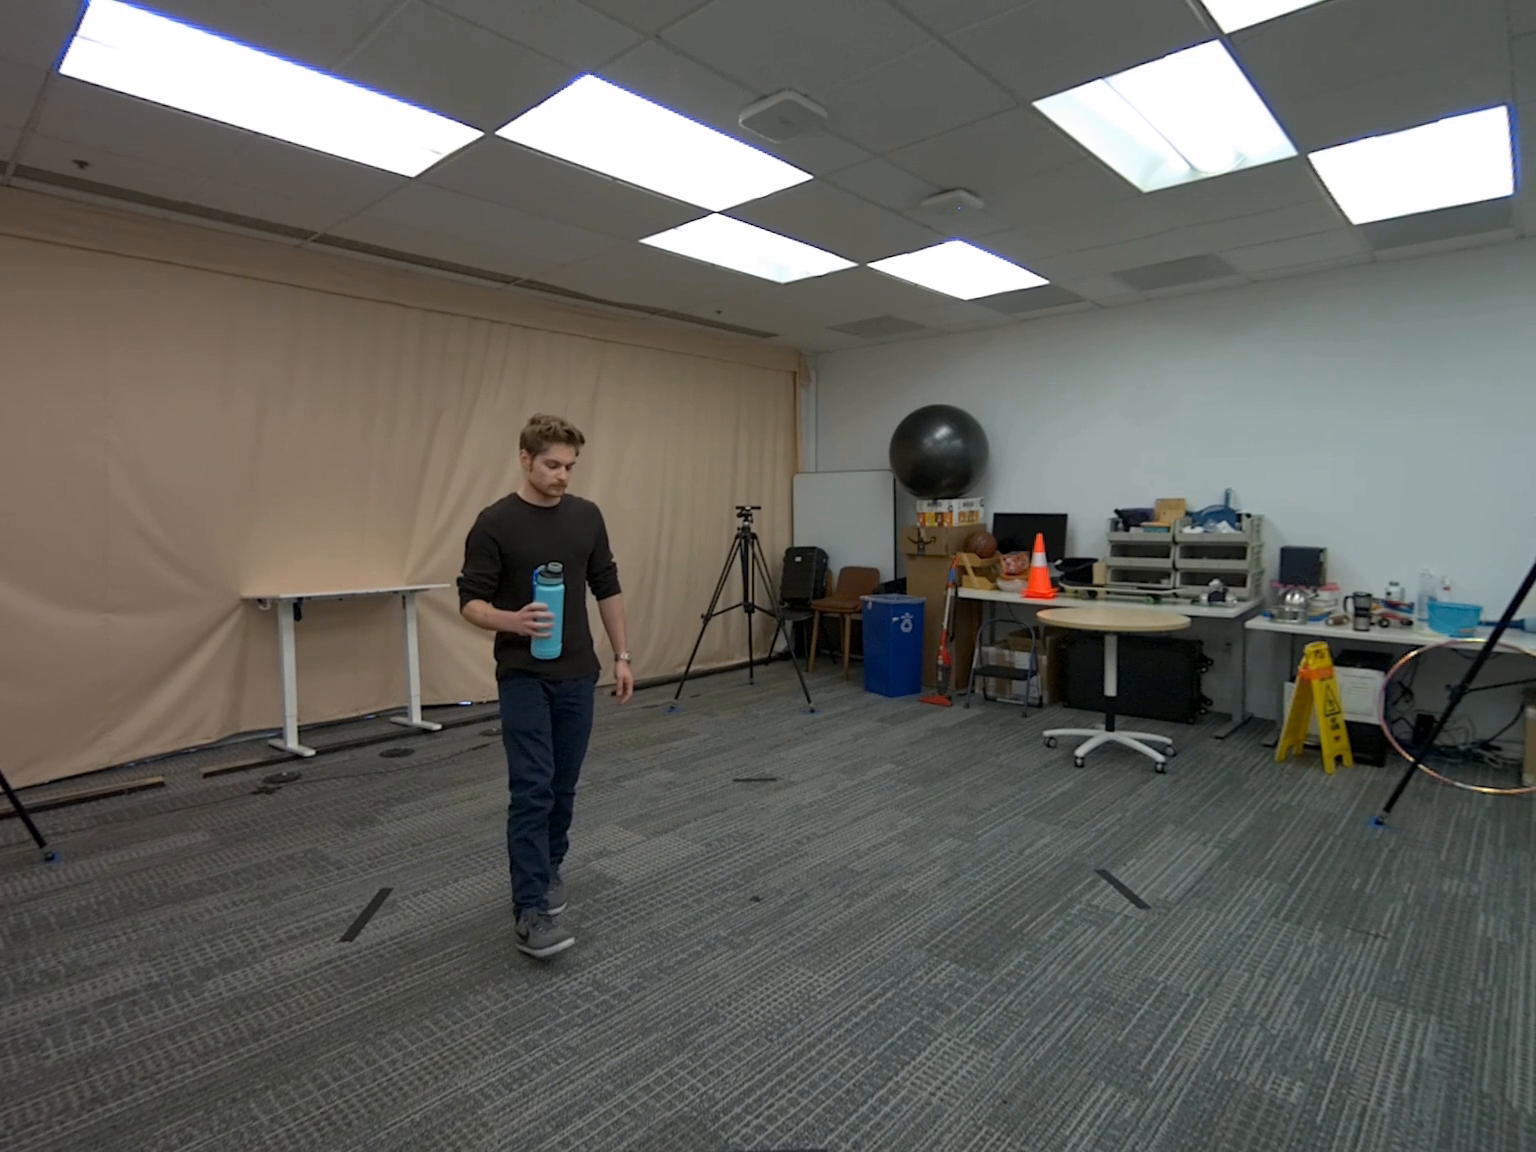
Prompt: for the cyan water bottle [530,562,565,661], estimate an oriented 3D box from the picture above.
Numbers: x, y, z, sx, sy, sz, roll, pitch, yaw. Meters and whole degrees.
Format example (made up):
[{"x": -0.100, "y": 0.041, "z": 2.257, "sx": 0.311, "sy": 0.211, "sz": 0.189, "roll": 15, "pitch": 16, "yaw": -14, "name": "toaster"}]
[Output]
[{"x": -0.668, "y": 0.100, "z": 2.527, "sx": 0.092, "sy": 0.281, "sz": 0.093, "roll": 4, "pitch": 16, "yaw": -3, "name": "cyan water bottle"}]
